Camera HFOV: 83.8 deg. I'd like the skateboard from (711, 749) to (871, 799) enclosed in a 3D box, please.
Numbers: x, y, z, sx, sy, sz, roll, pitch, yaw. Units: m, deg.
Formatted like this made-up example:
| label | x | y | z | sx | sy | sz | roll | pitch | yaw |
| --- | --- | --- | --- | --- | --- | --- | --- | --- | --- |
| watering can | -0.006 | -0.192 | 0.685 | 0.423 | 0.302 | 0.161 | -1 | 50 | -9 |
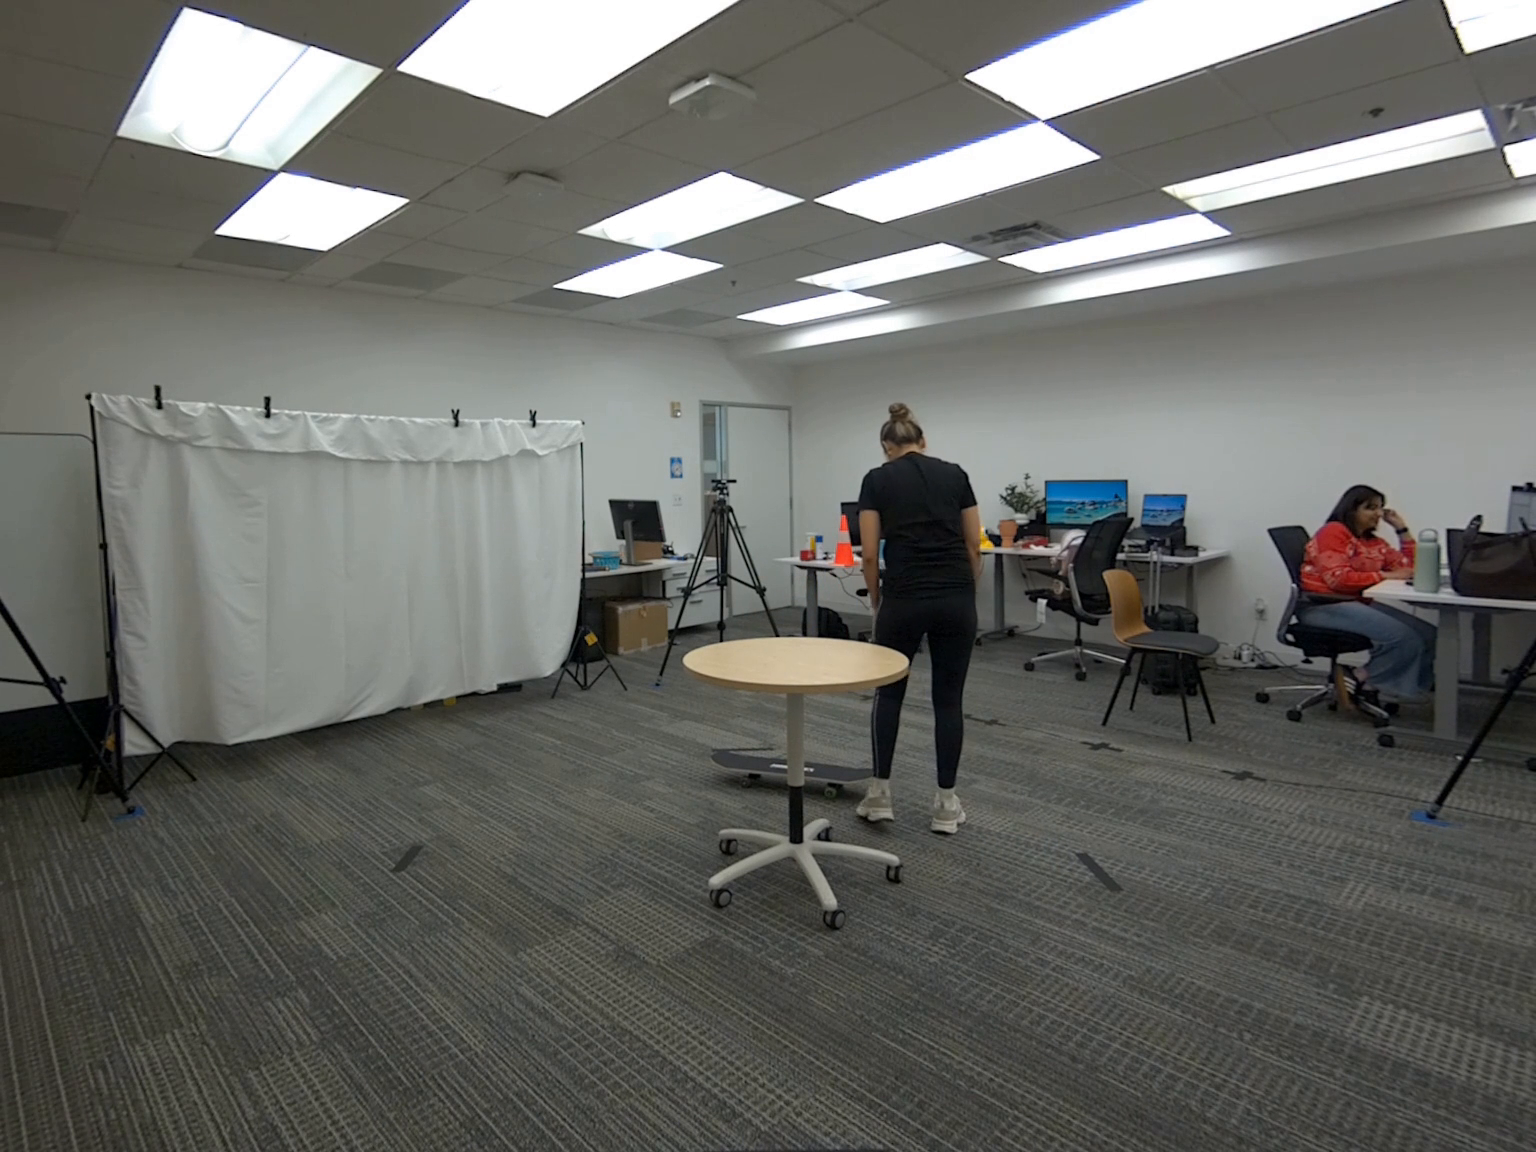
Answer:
| label | x | y | z | sx | sy | sz | roll | pitch | yaw |
| --- | --- | --- | --- | --- | --- | --- | --- | --- | --- |
| skateboard | 0.113 | 0.905 | 3.883 | 0.801 | 0.110 | 0.190 | 2 | 7 | 22 |
